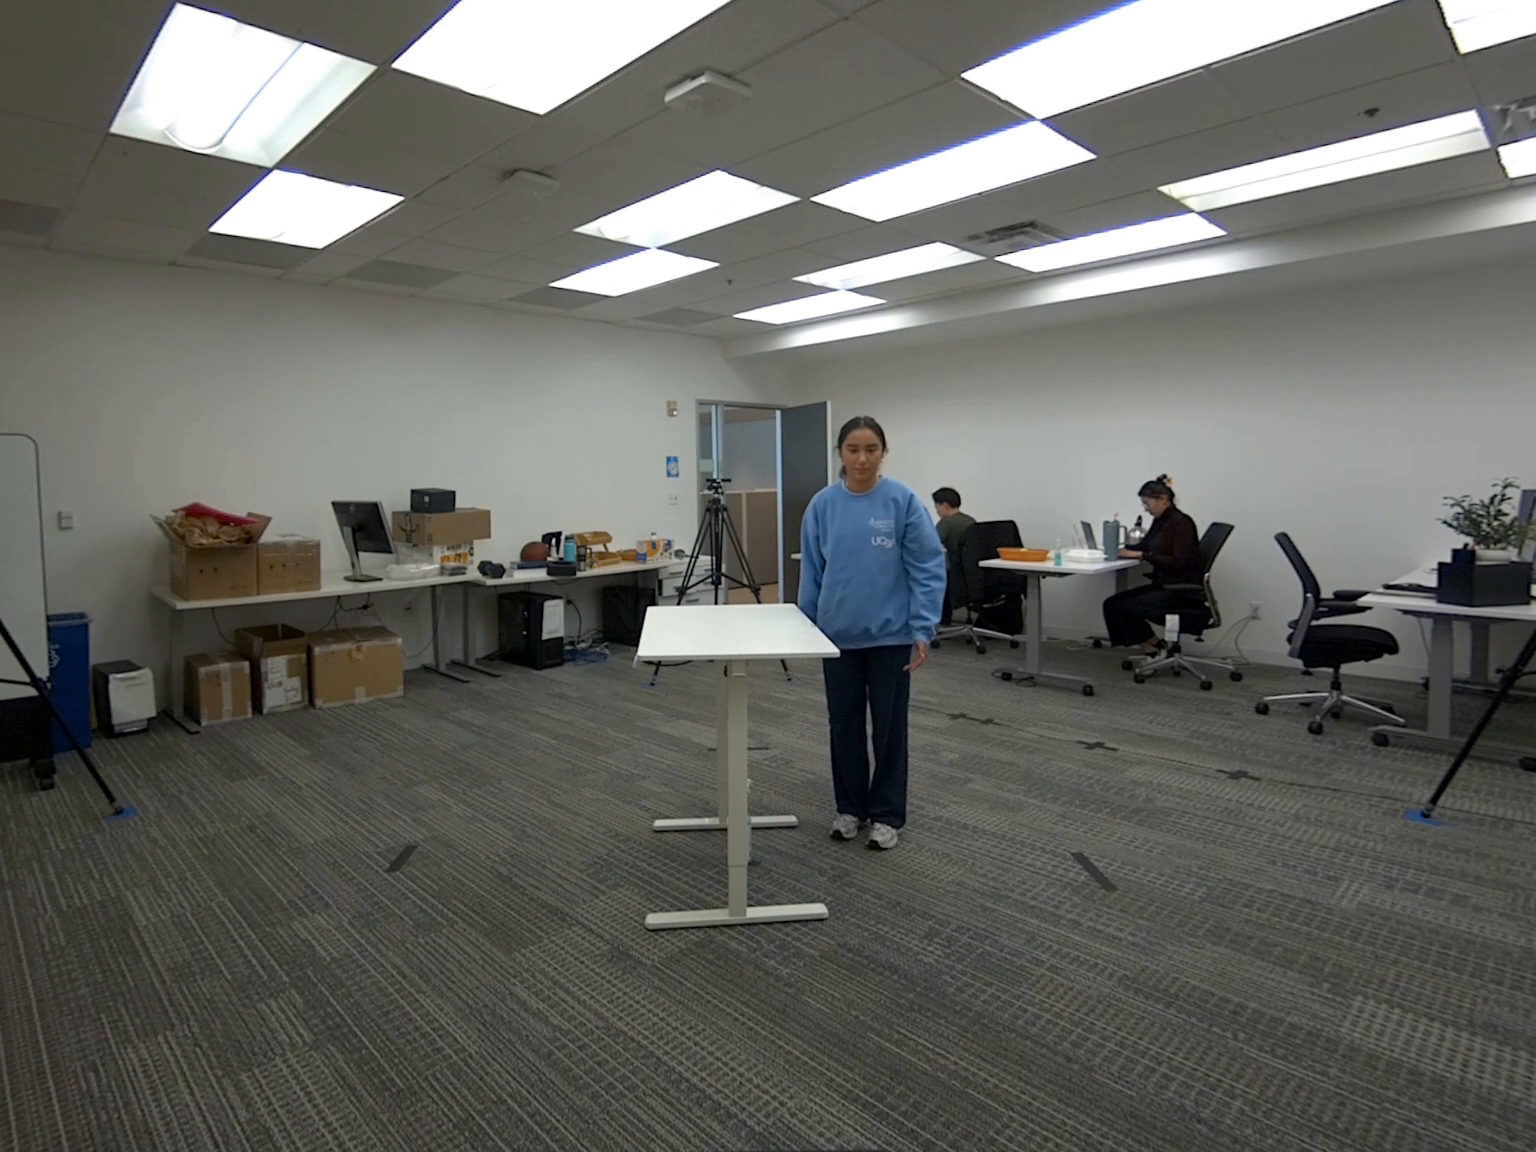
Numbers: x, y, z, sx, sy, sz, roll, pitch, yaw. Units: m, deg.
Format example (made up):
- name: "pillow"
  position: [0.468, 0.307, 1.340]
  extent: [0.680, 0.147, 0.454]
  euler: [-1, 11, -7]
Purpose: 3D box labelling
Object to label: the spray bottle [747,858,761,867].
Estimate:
- name: "spray bottle"
  position: [-0.096, 0.899, 3.114]
  extent: [0.089, 0.297, 0.088]
  euler: [-2, 1, -8]
